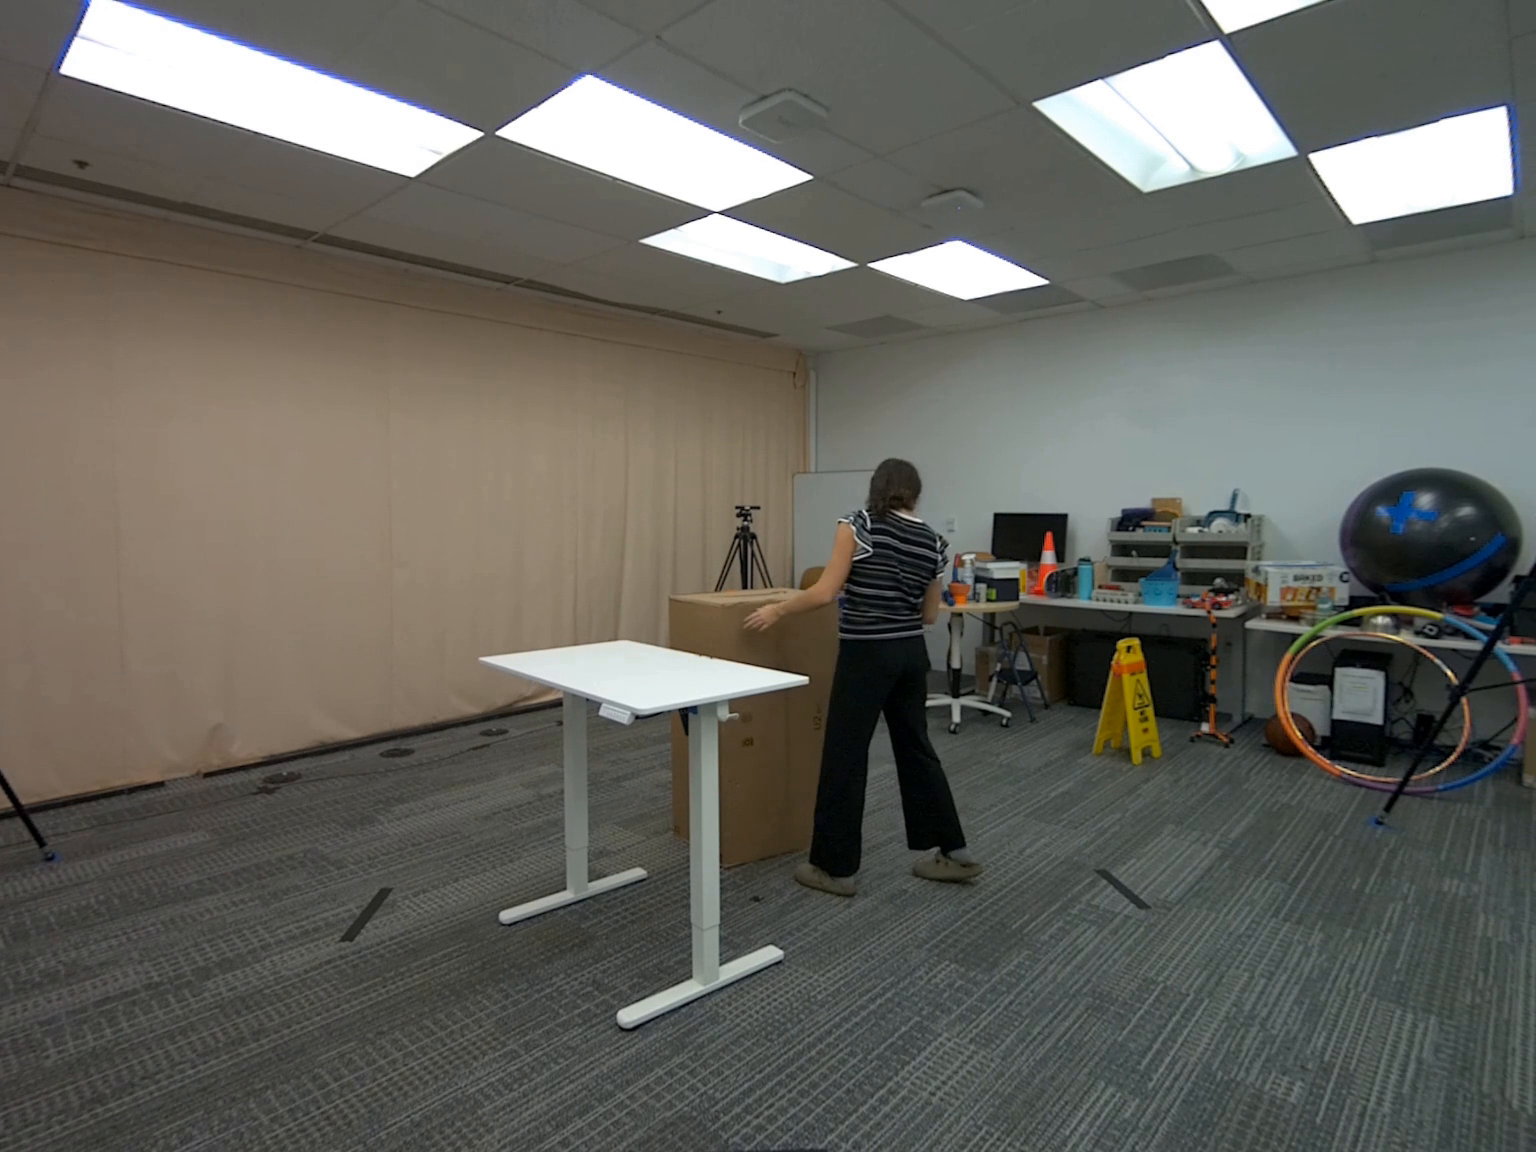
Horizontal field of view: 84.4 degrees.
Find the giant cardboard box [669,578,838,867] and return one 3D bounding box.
[{"bbox_3d":[-0.062,0.588,3.527,0.561,1.024,0.439,-2,3,-32],"label":"giant cardboard box"}]
